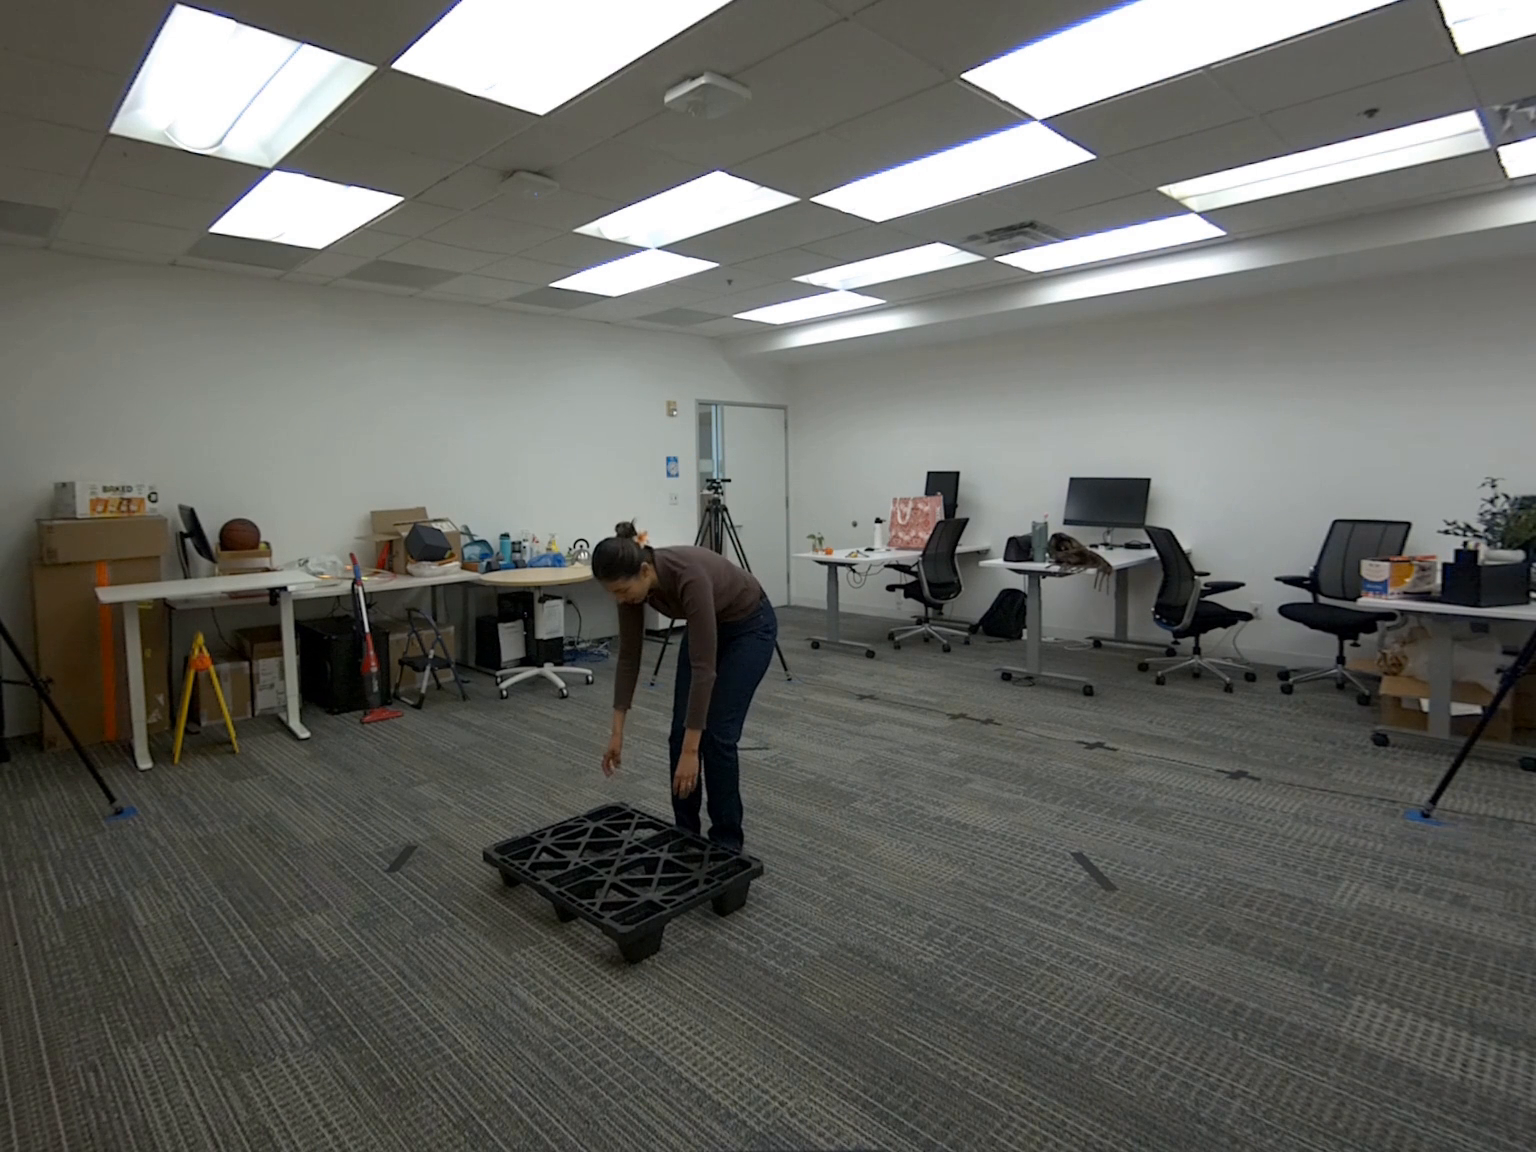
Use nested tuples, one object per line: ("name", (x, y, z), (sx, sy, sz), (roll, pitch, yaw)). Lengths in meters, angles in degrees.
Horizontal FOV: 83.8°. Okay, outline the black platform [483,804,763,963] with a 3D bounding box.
("black platform", (-0.498, 1.011, 2.895), (0.831, 0.142, 0.589), (5, 9, 43))
